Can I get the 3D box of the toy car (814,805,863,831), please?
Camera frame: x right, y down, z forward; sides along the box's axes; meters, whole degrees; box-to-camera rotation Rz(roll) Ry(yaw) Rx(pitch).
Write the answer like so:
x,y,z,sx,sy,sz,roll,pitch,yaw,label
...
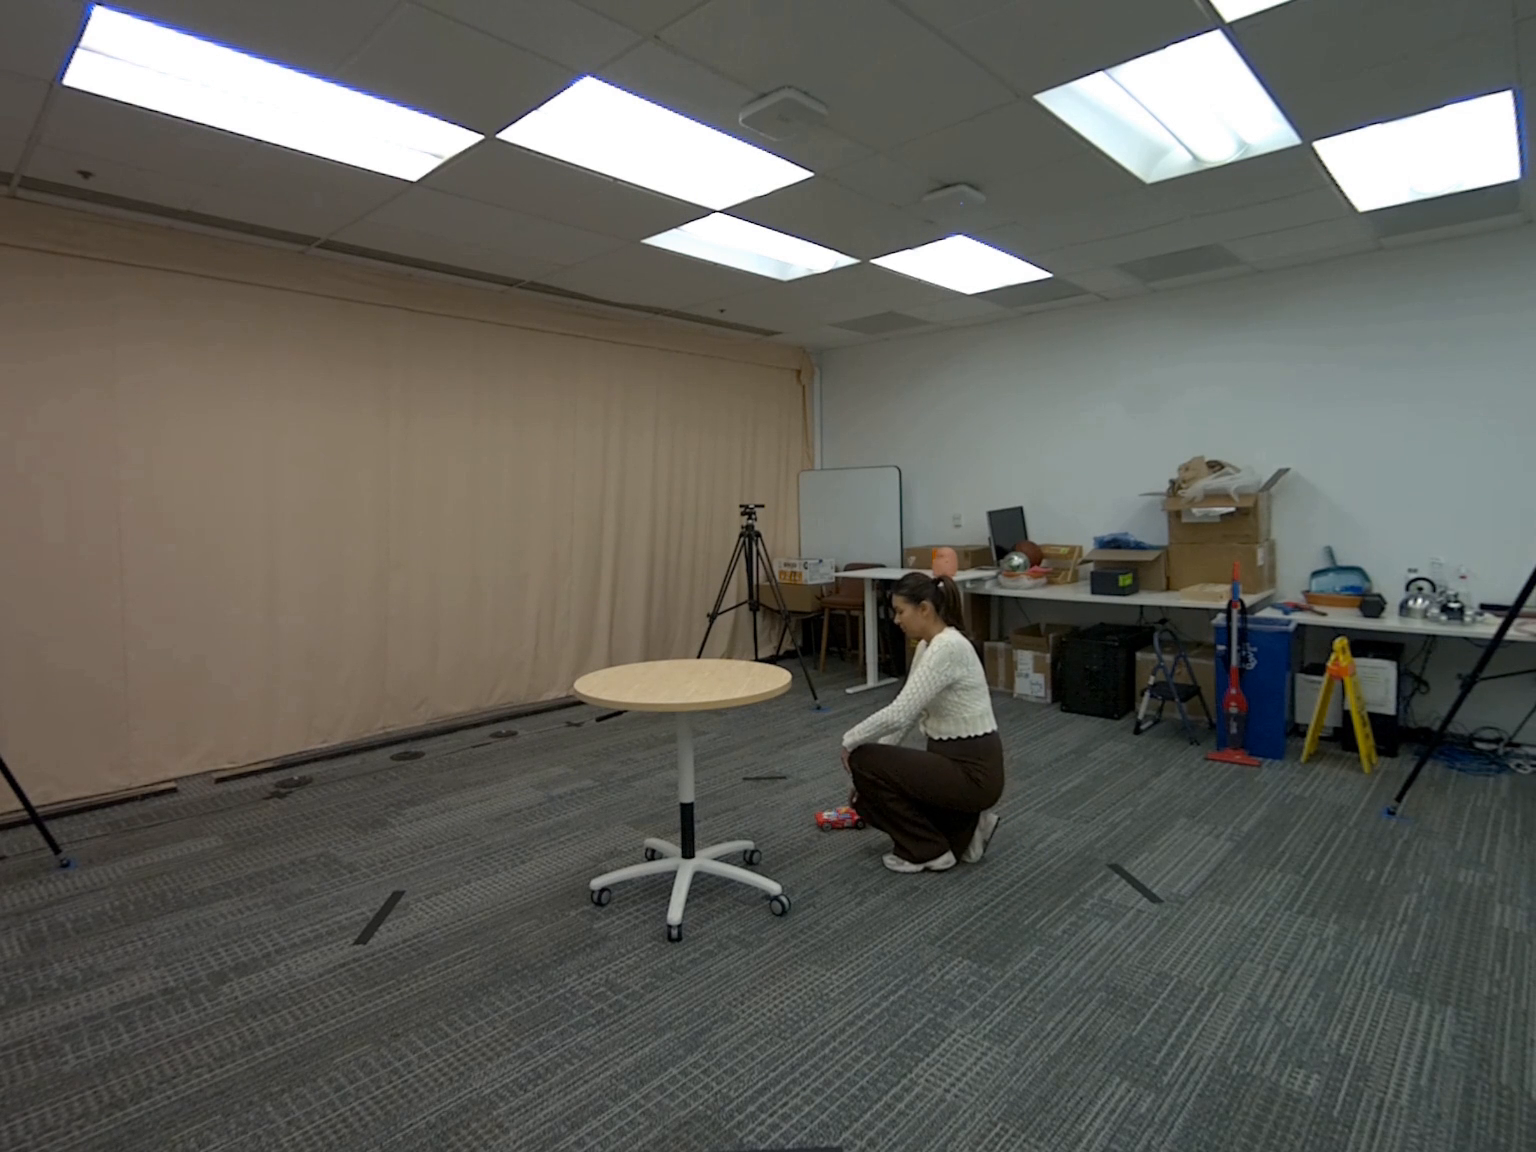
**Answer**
x,y,z,sx,sy,sz,roll,pitch,yaw,label
0.339,1.047,3.638,0.253,0.083,0.131,-12,6,-6,toy car
